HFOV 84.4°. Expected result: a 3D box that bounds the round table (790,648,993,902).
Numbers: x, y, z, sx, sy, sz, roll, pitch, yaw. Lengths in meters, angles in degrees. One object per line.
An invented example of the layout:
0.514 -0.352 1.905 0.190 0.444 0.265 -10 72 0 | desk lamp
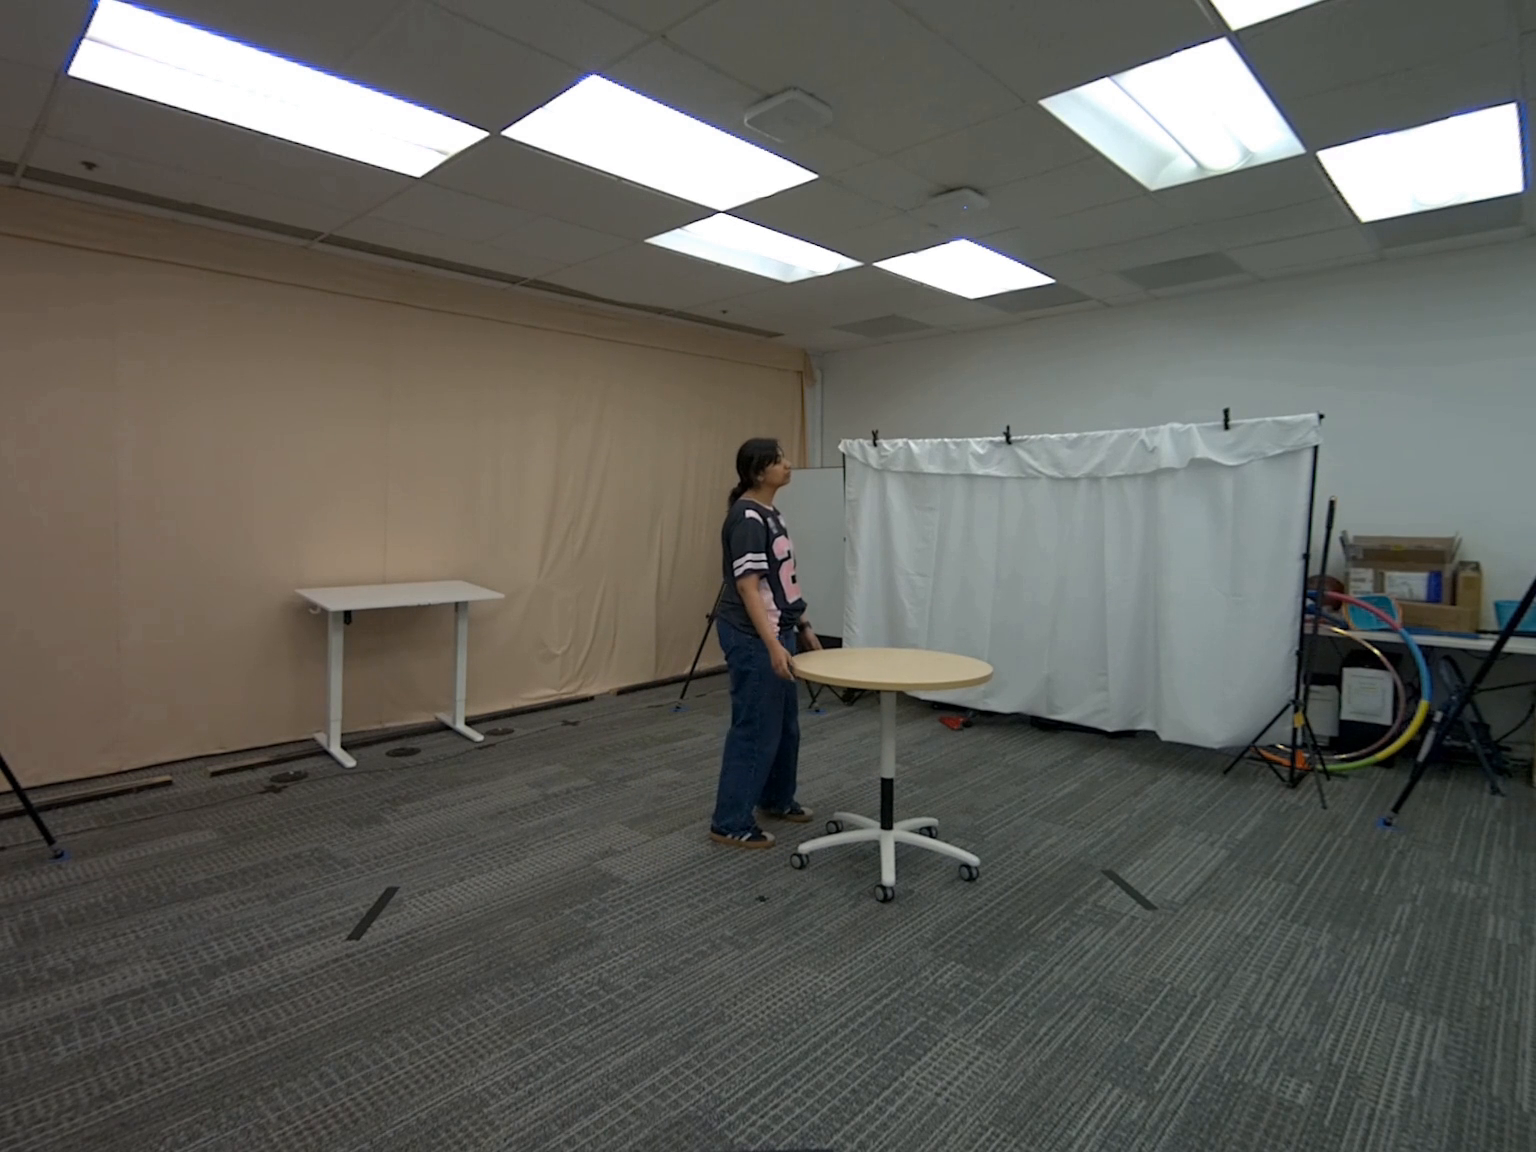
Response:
0.467 0.731 3.246 0.763 0.792 0.766 0 3 -2 | round table
